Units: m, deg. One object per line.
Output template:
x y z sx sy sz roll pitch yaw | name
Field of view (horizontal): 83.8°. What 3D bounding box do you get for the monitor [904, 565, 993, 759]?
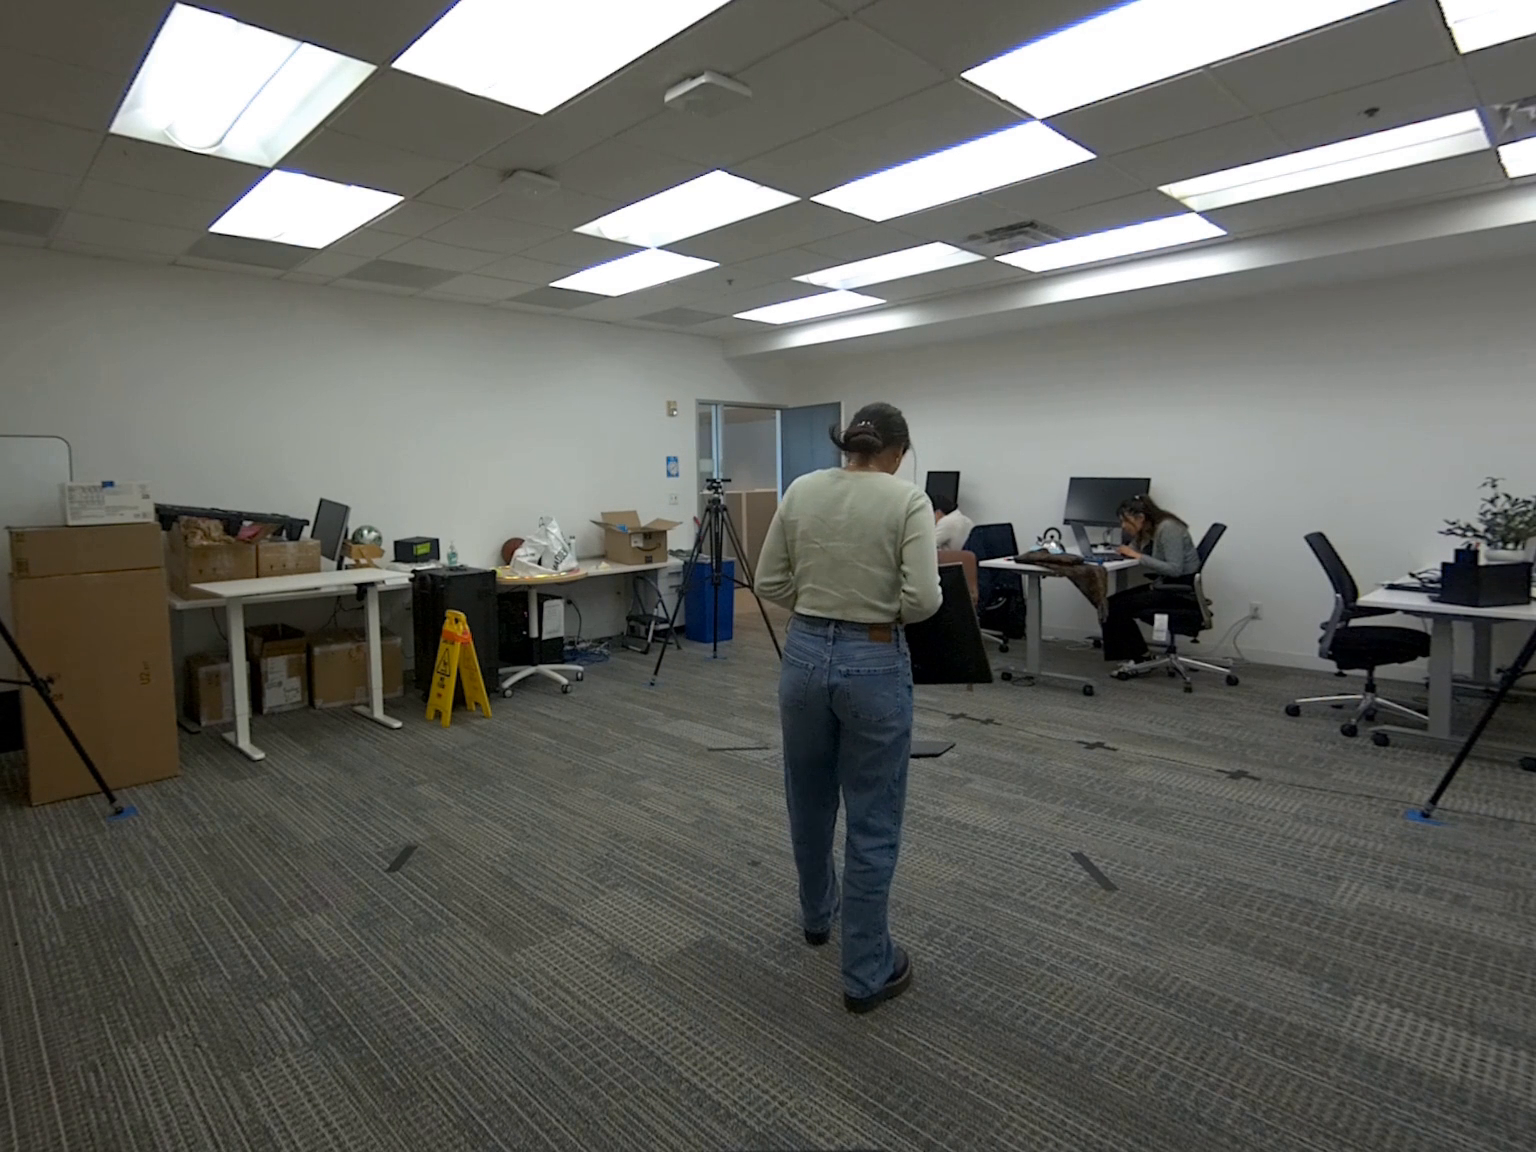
0.354 0.239 2.446 0.542 0.519 0.170 -10 -6 34 | monitor
